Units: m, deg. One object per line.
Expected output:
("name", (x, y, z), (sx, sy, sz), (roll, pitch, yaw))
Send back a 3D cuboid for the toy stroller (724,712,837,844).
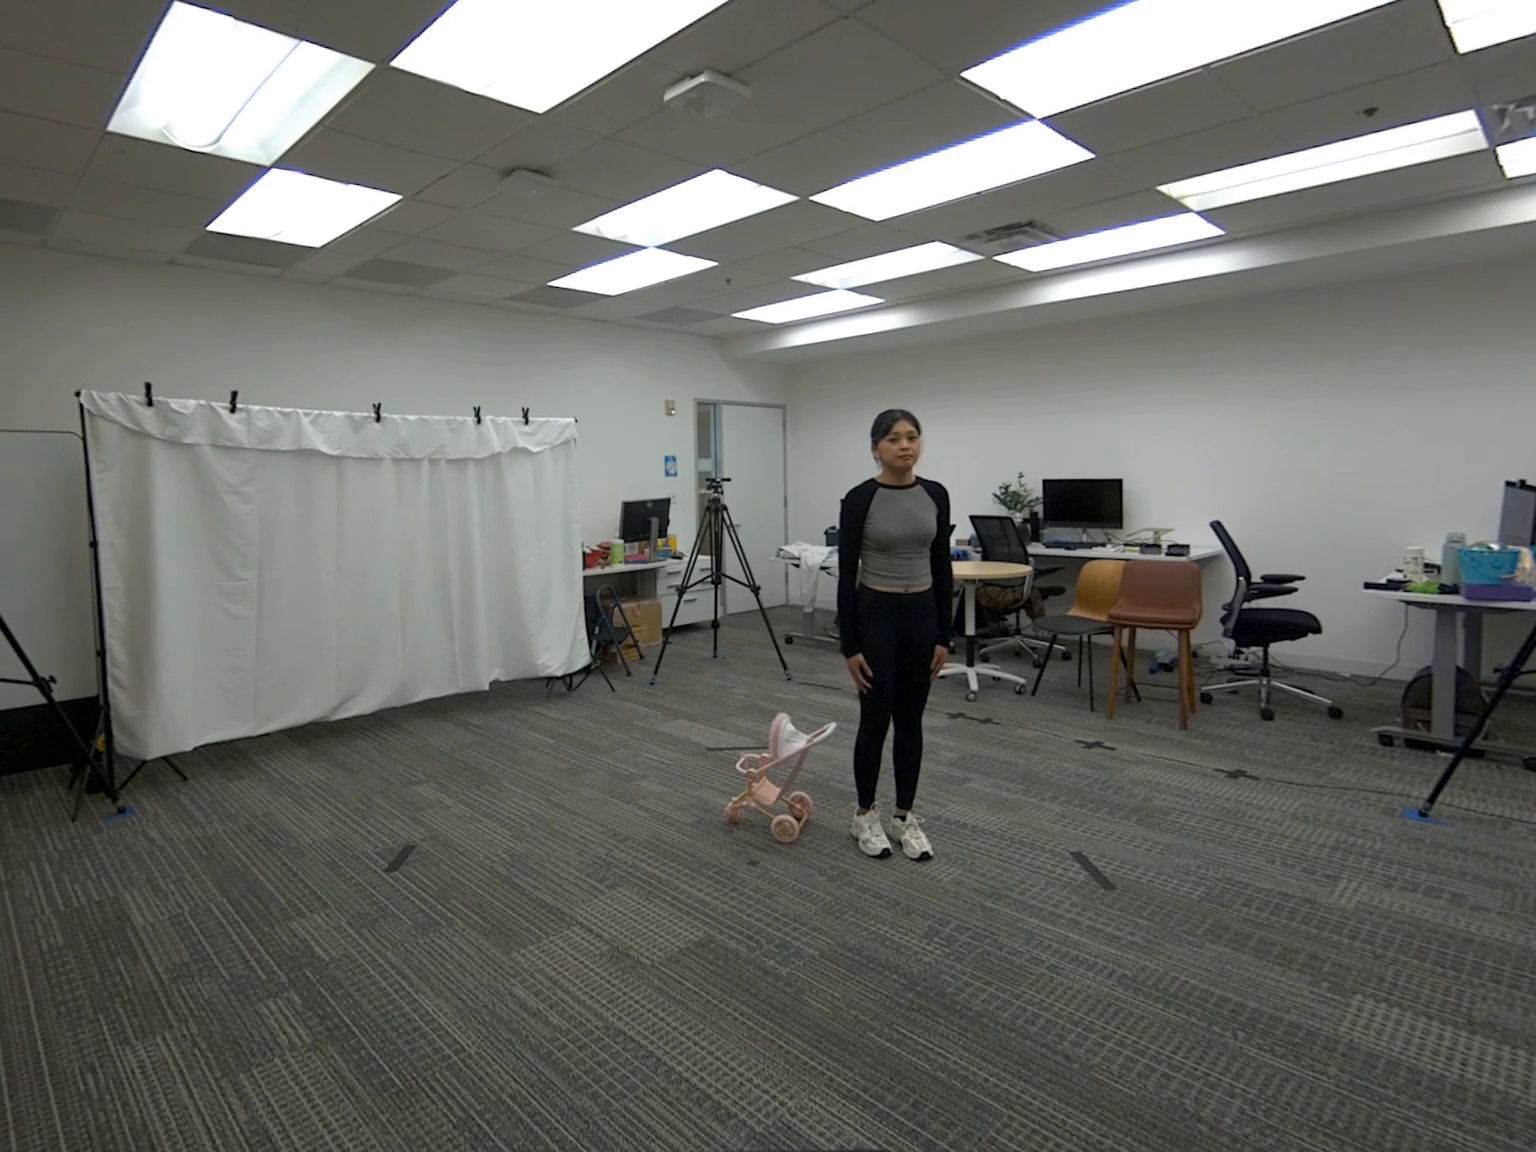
("toy stroller", (0.038, 0.784, 3.399), (0.350, 0.531, 0.276), (19, 11, 20))
